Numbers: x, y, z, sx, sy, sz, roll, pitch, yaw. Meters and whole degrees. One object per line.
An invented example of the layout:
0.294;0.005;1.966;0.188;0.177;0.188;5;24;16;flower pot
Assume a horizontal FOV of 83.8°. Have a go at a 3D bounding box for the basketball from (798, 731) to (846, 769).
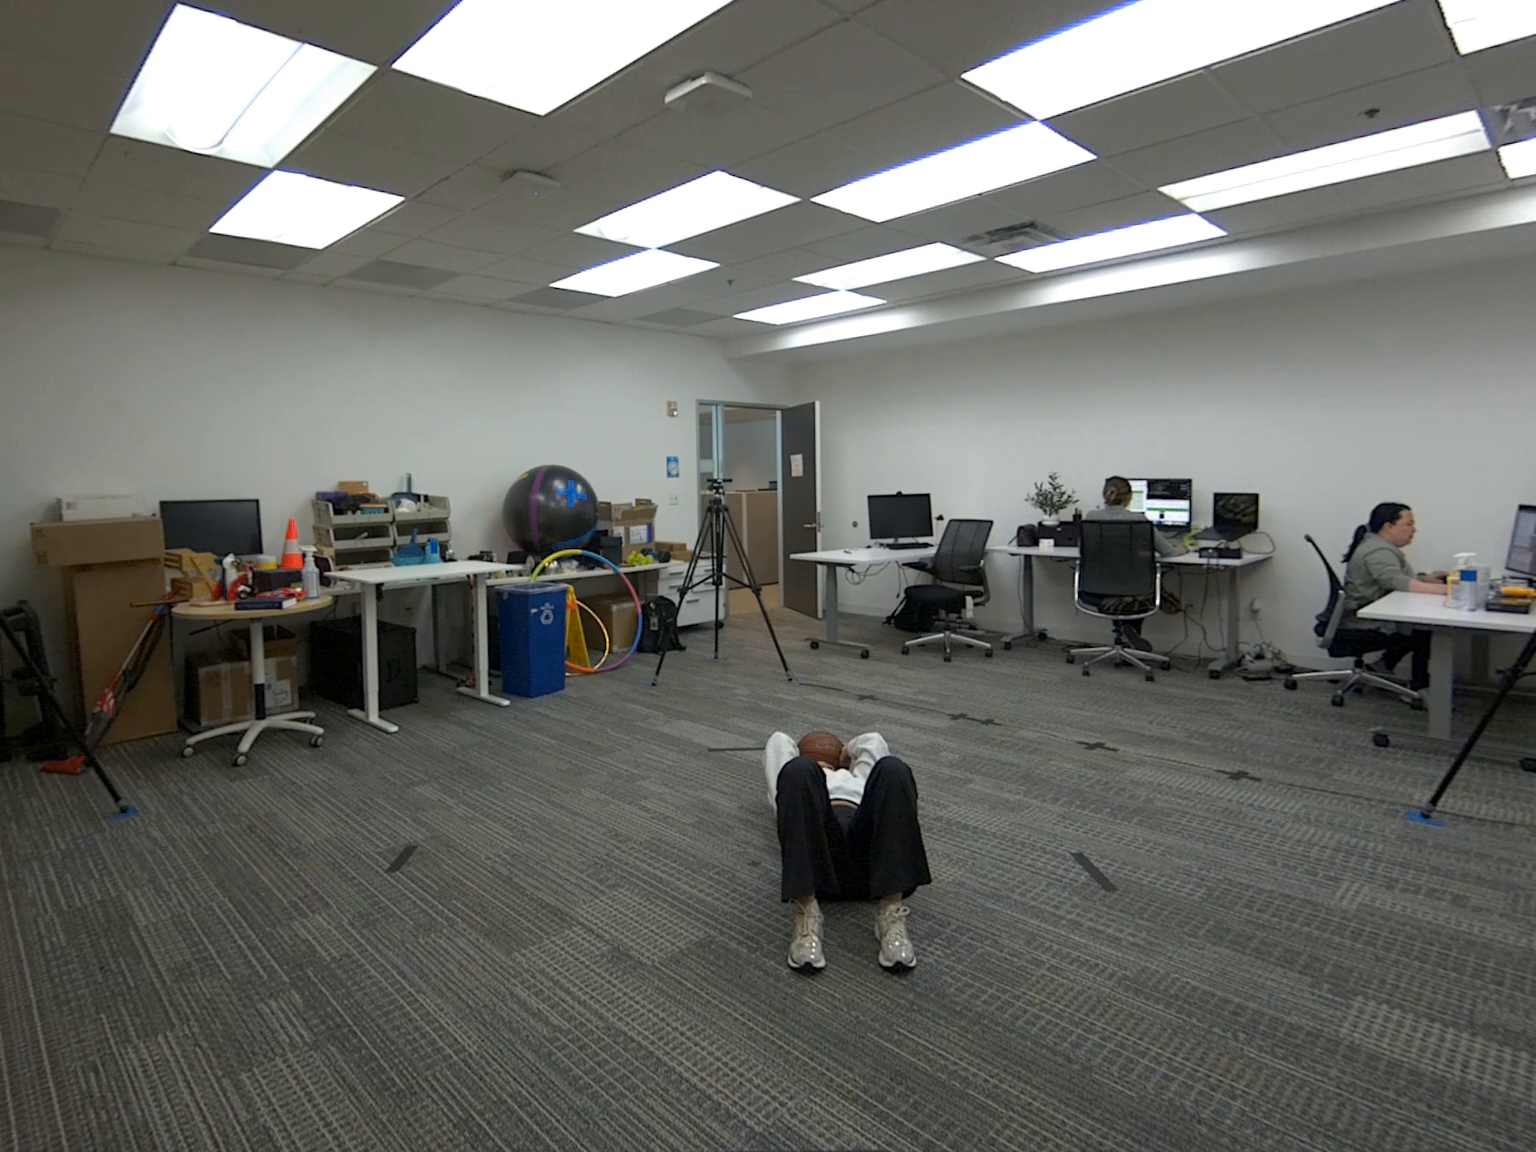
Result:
0.239;0.812;3.887;0.236;0.235;0.237;-1;5;-2;basketball
